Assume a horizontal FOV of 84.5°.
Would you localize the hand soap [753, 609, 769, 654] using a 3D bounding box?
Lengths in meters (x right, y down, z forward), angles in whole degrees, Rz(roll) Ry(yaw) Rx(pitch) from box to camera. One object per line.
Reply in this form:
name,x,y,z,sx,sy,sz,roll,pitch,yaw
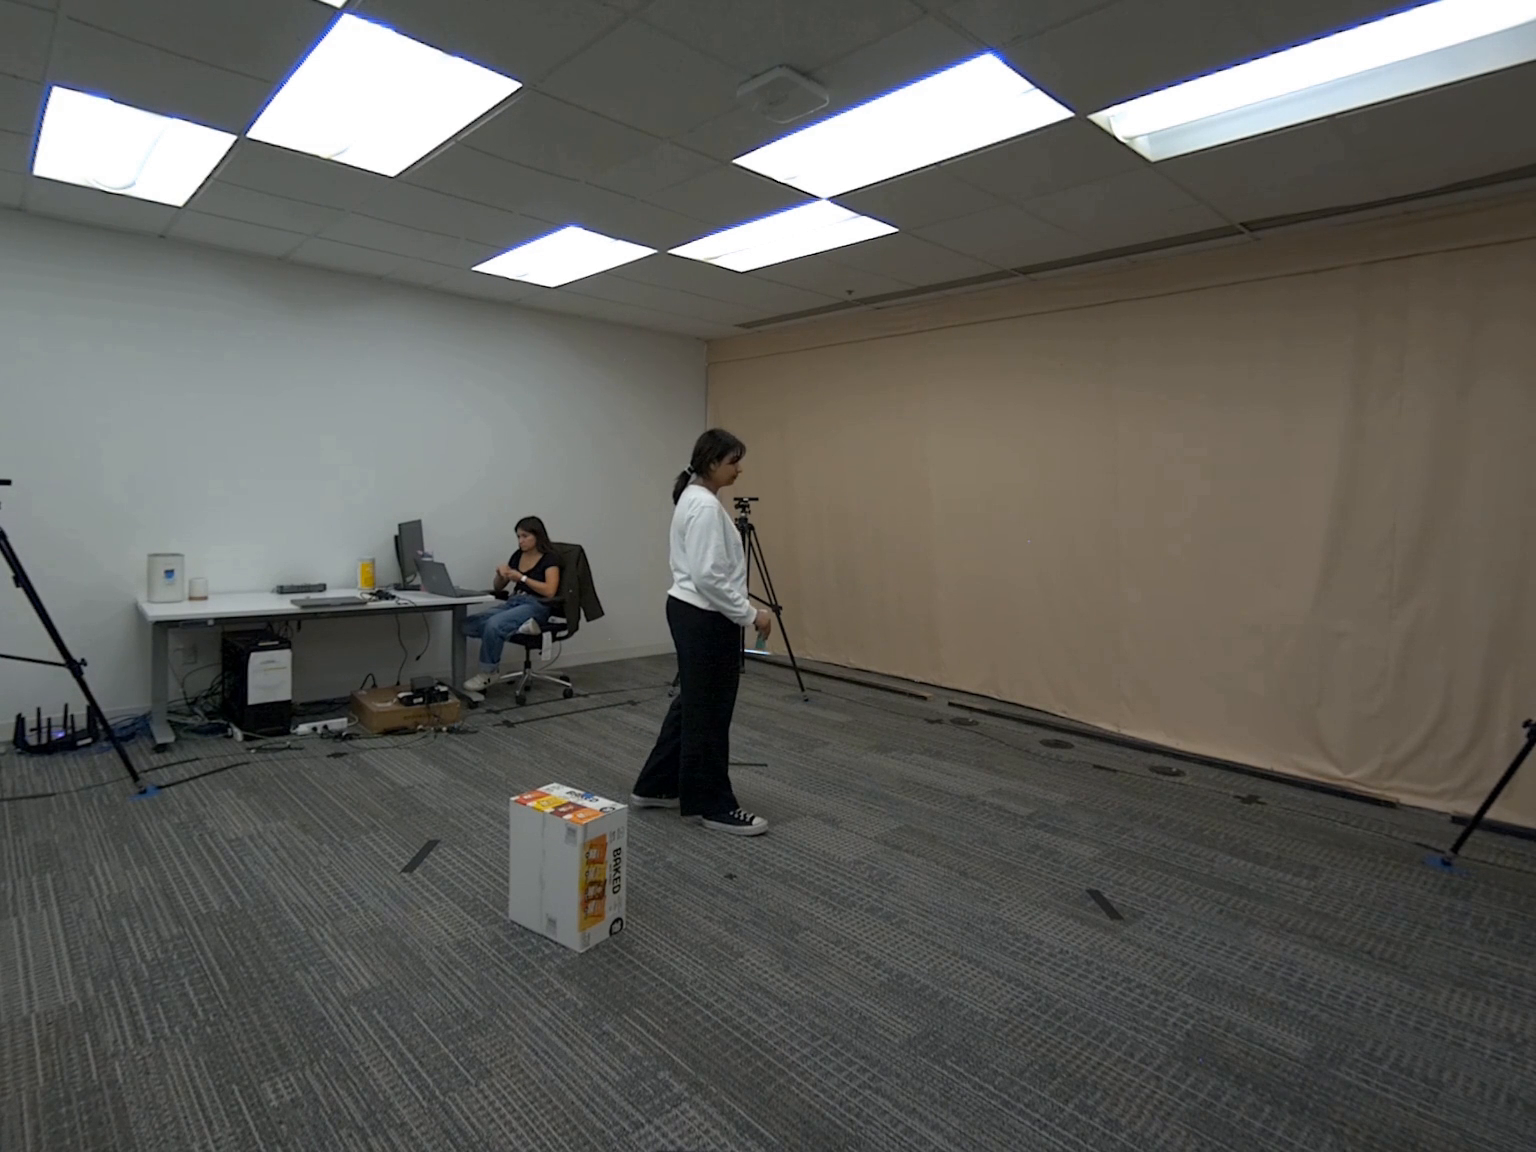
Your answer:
hand soap,-0.032,0.228,3.545,0.043,0.168,0.084,5,4,5
